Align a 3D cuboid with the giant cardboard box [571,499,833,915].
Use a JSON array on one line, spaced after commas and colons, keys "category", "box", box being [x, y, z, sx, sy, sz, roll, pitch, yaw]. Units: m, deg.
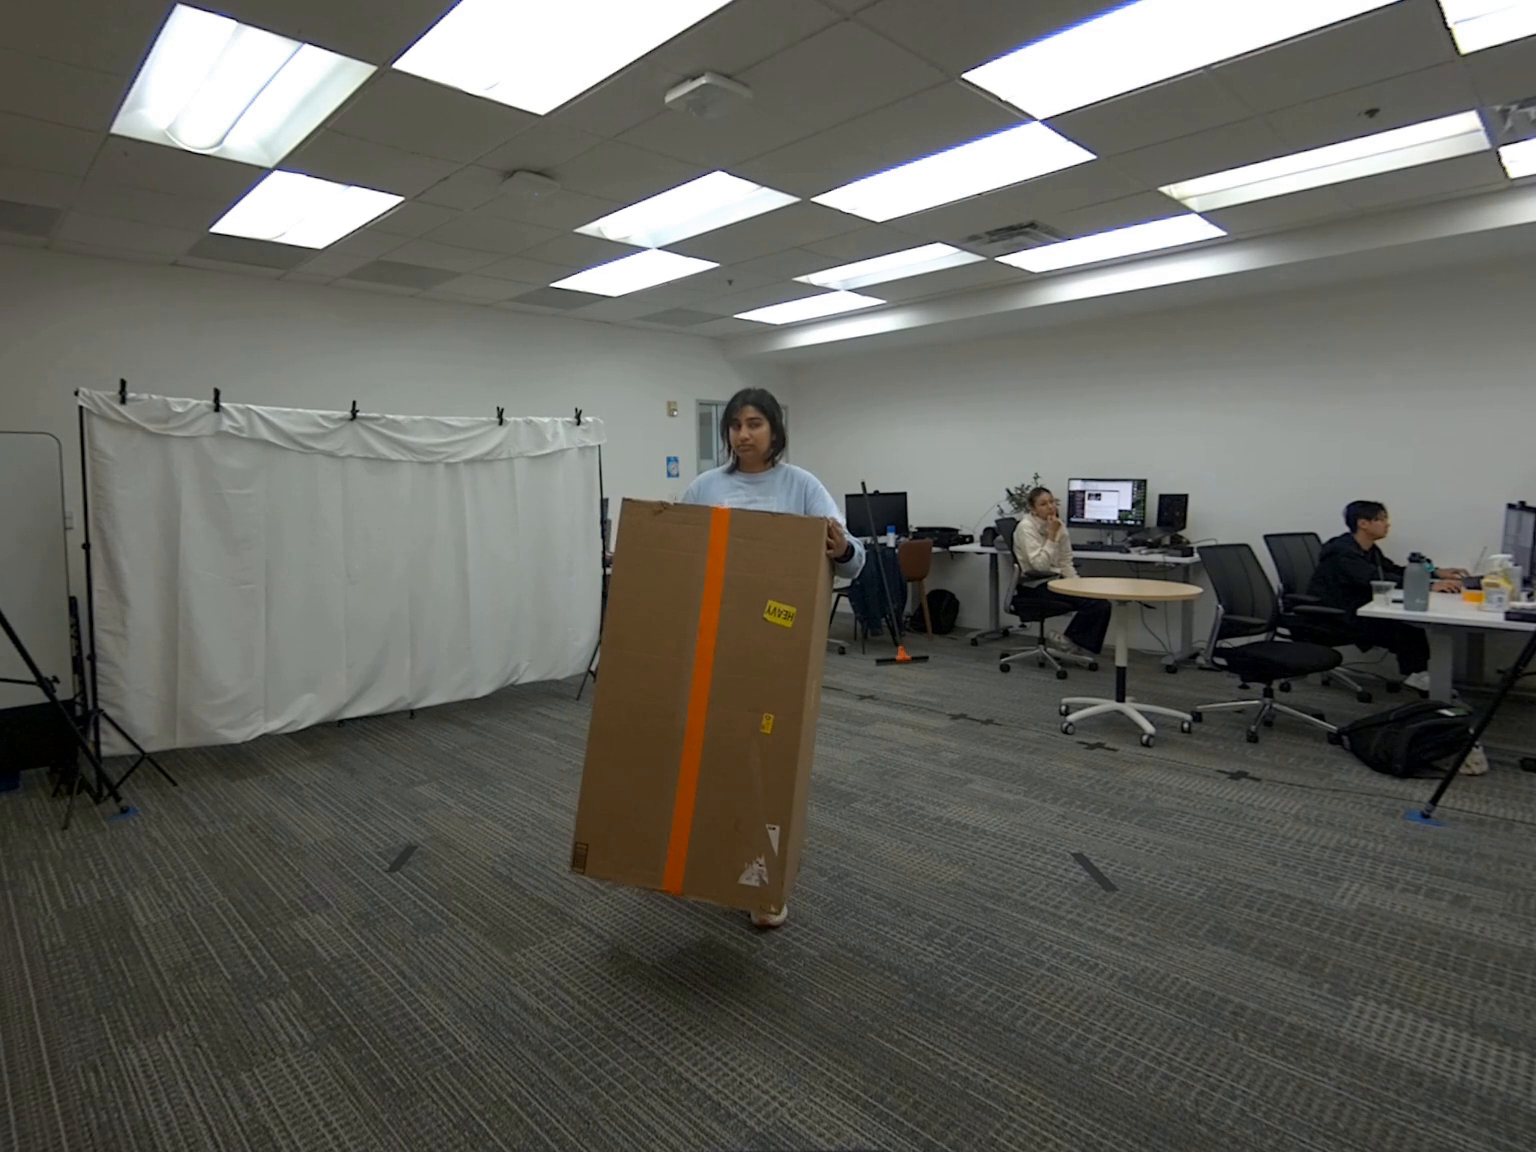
[{"category": "giant cardboard box", "box": [-0.157, 0.341, 2.460, 0.585, 1.030, 0.419, 6, -5, 12]}]
